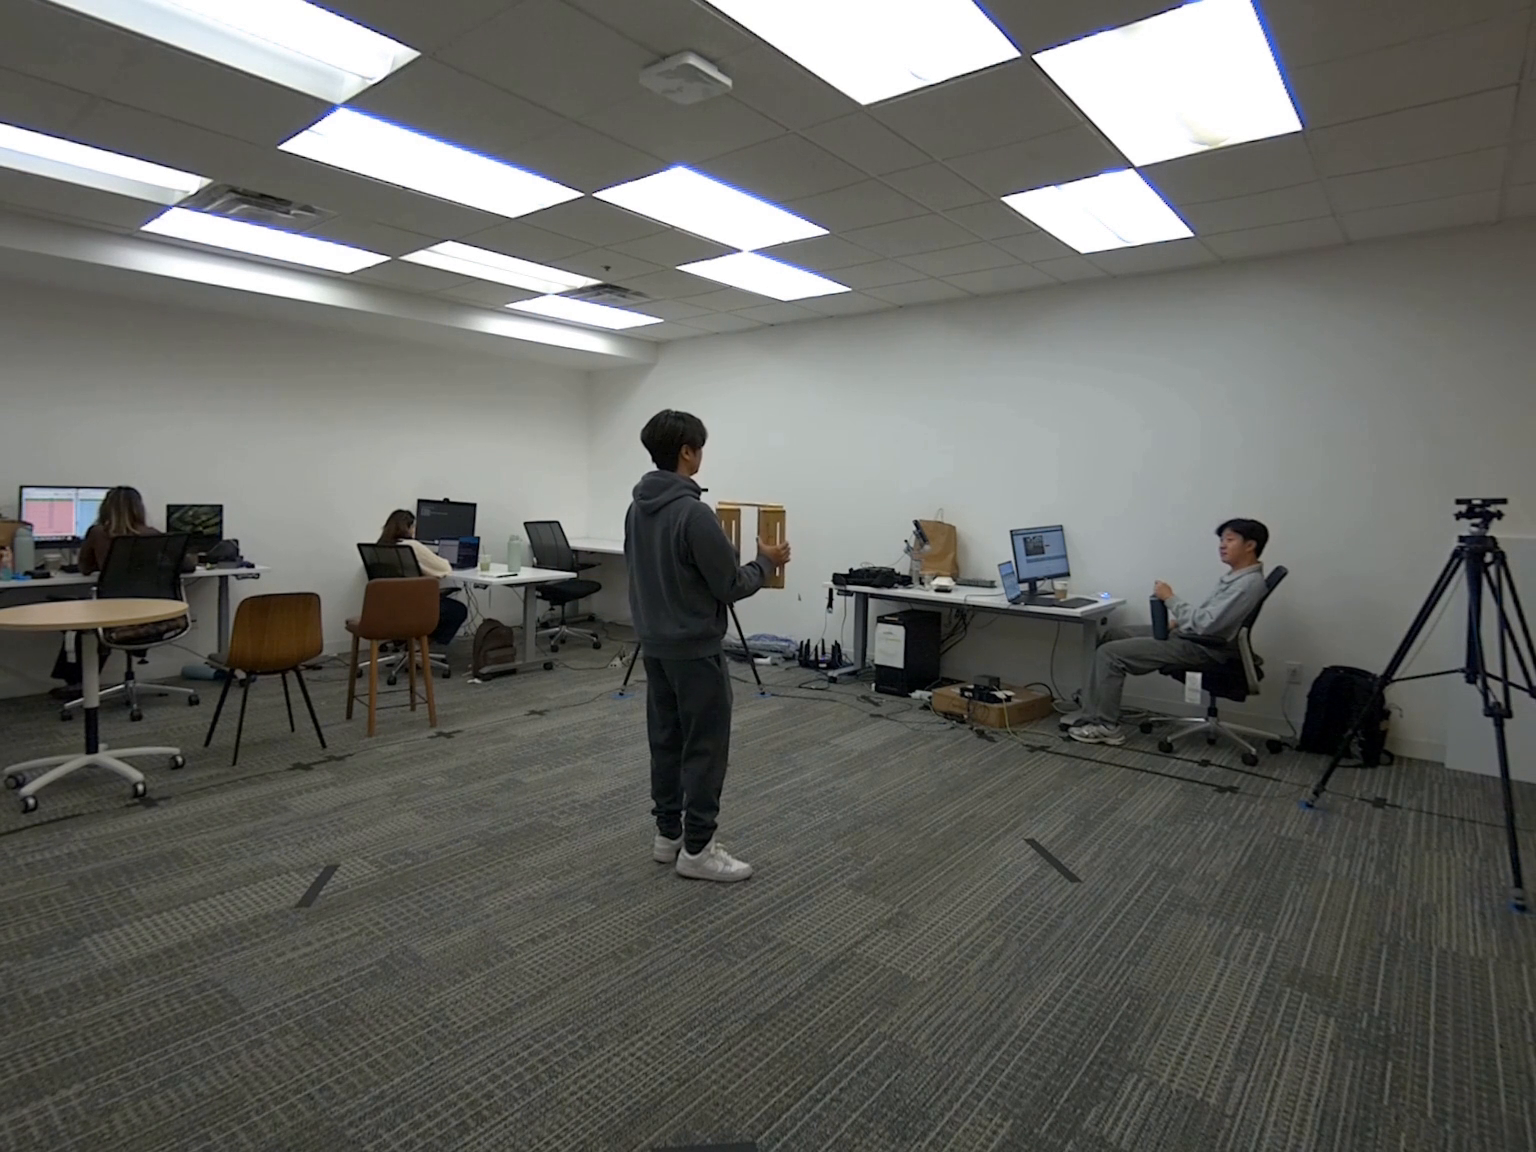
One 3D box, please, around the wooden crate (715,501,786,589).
[{"bbox_3d":[-0.073,-0.134,3.355,0.274,0.321,0.305,0,11,0],"label":"wooden crate"}]
